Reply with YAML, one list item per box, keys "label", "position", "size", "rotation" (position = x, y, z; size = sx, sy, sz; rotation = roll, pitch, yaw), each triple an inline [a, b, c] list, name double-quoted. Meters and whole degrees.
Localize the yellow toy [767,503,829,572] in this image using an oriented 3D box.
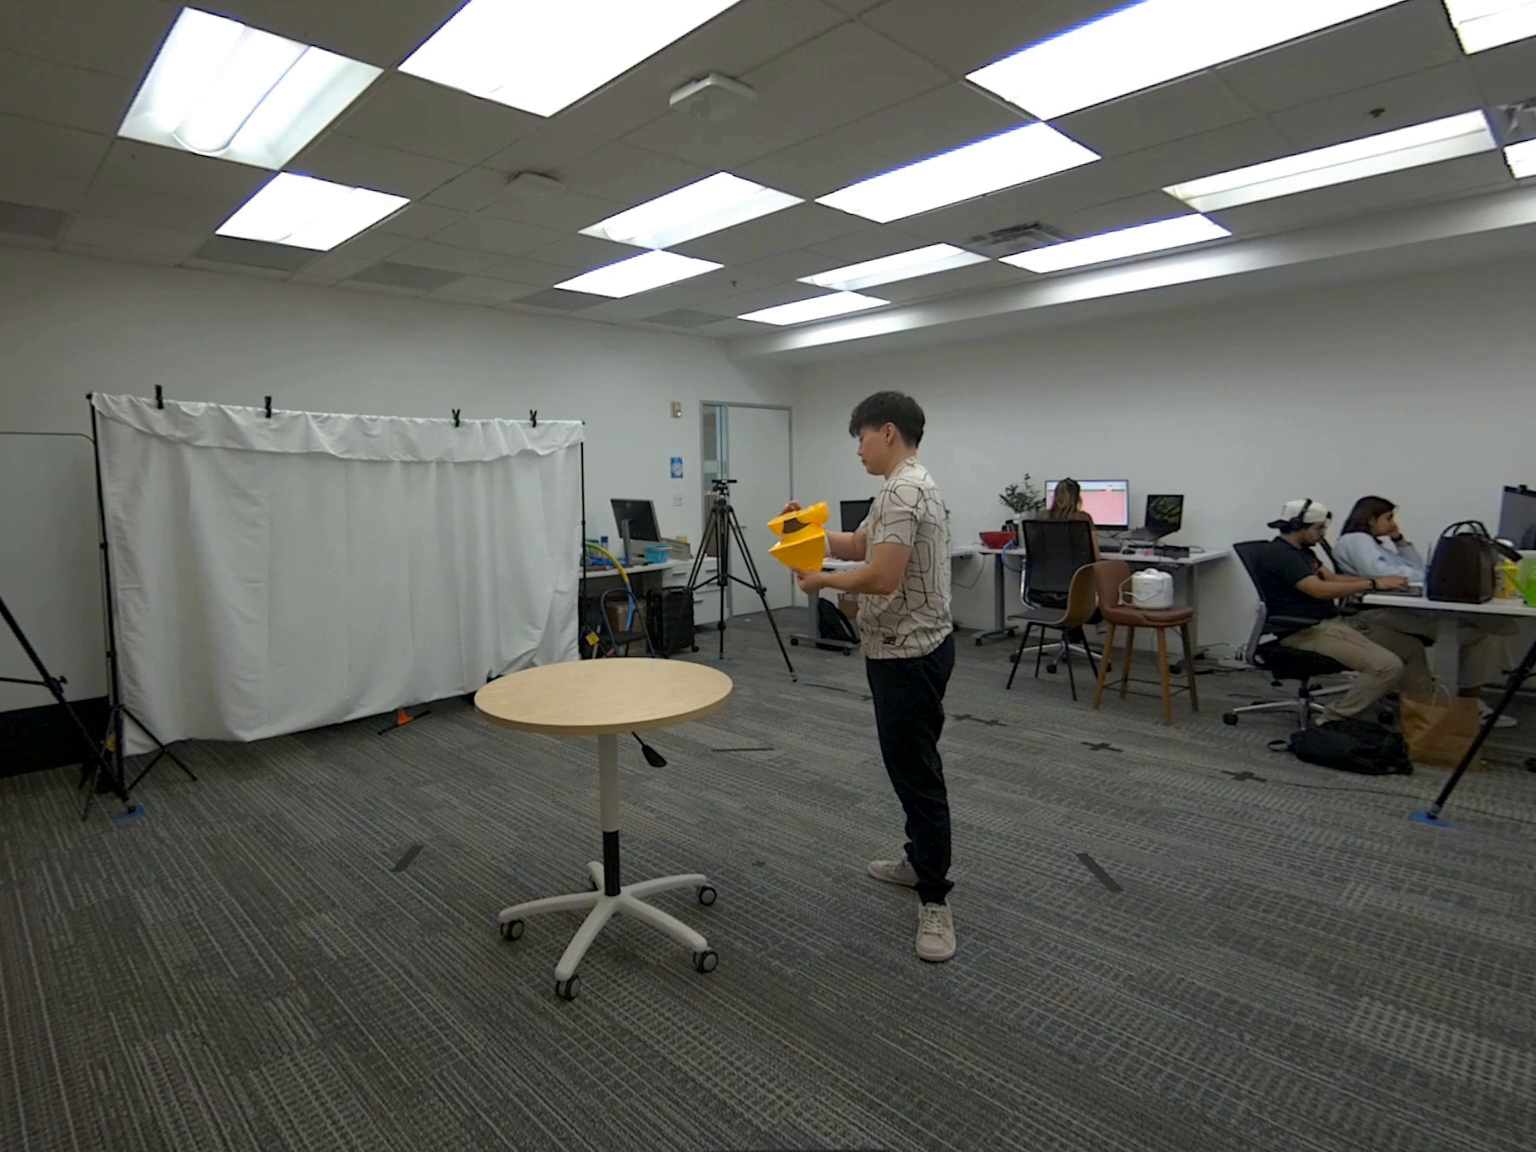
- label: "yellow toy"
  position: [0.137, -0.097, 2.812]
  size: [0.208, 0.229, 0.191]
  rotation: [-17, 7, 26]
